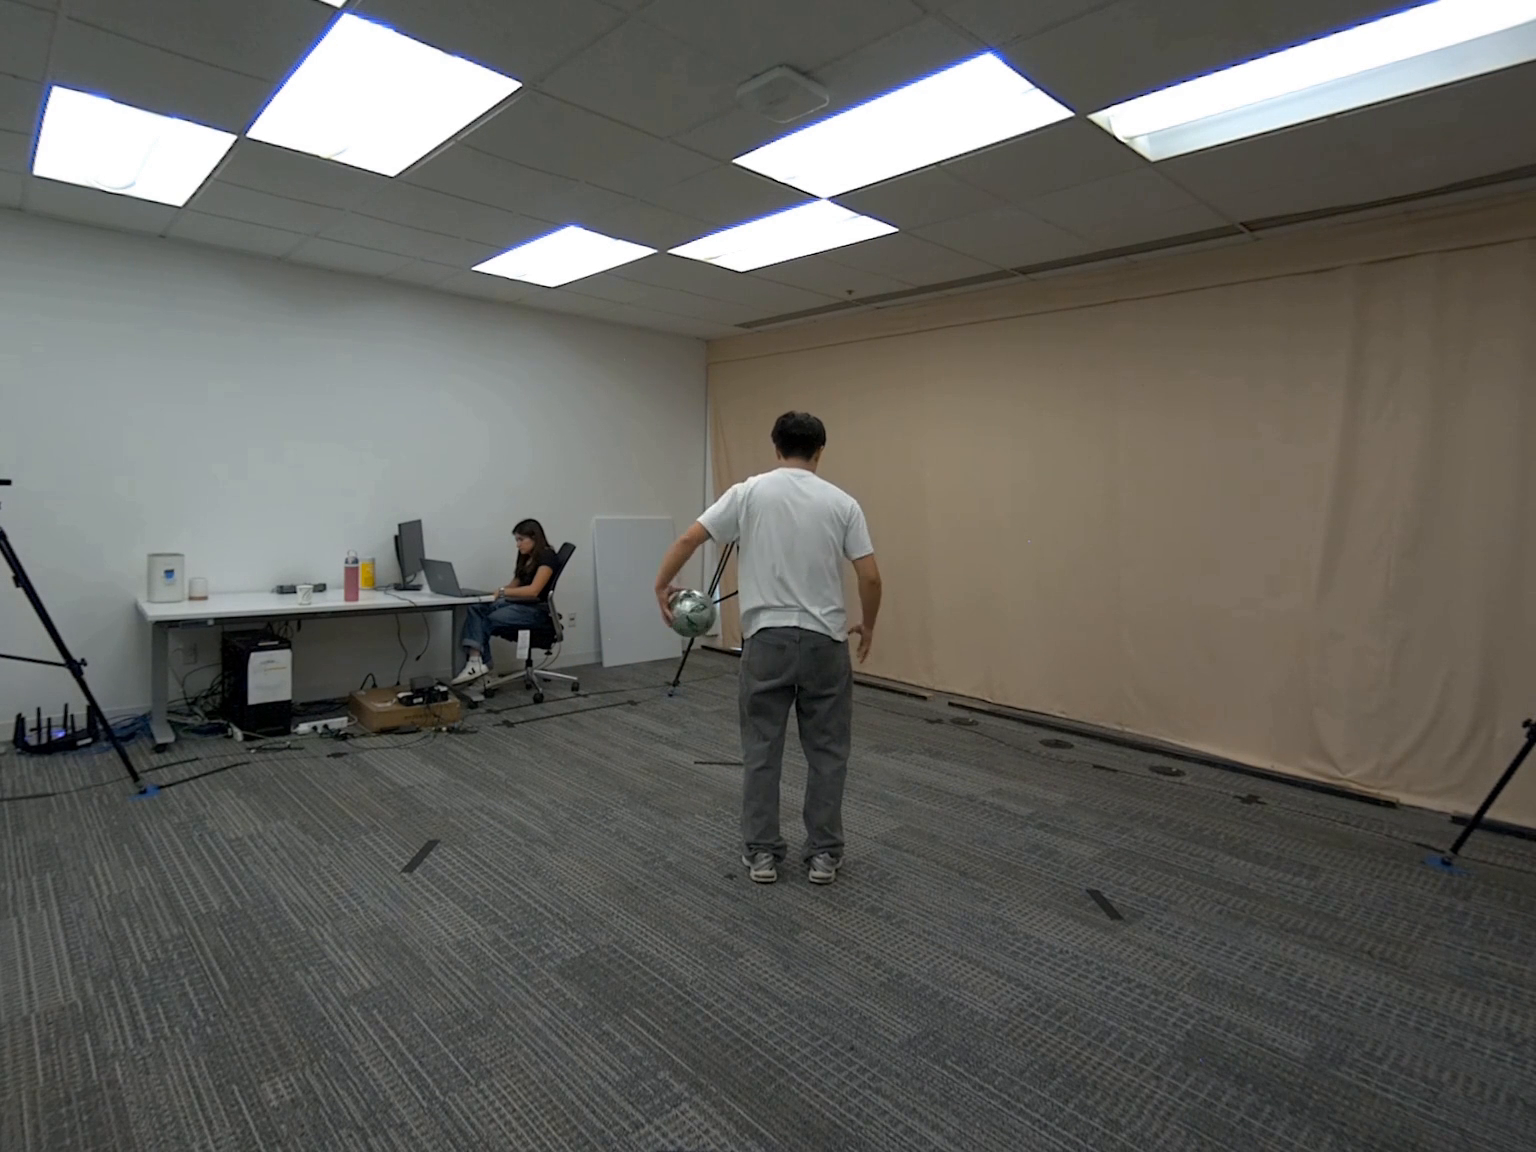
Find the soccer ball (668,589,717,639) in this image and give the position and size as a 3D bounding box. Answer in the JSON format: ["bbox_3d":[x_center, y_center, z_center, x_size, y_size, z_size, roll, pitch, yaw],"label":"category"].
[{"bbox_3d":[-0.273,0.138,3.208,0.187,0.187,0.188,1,4,-1],"label":"soccer ball"}]
